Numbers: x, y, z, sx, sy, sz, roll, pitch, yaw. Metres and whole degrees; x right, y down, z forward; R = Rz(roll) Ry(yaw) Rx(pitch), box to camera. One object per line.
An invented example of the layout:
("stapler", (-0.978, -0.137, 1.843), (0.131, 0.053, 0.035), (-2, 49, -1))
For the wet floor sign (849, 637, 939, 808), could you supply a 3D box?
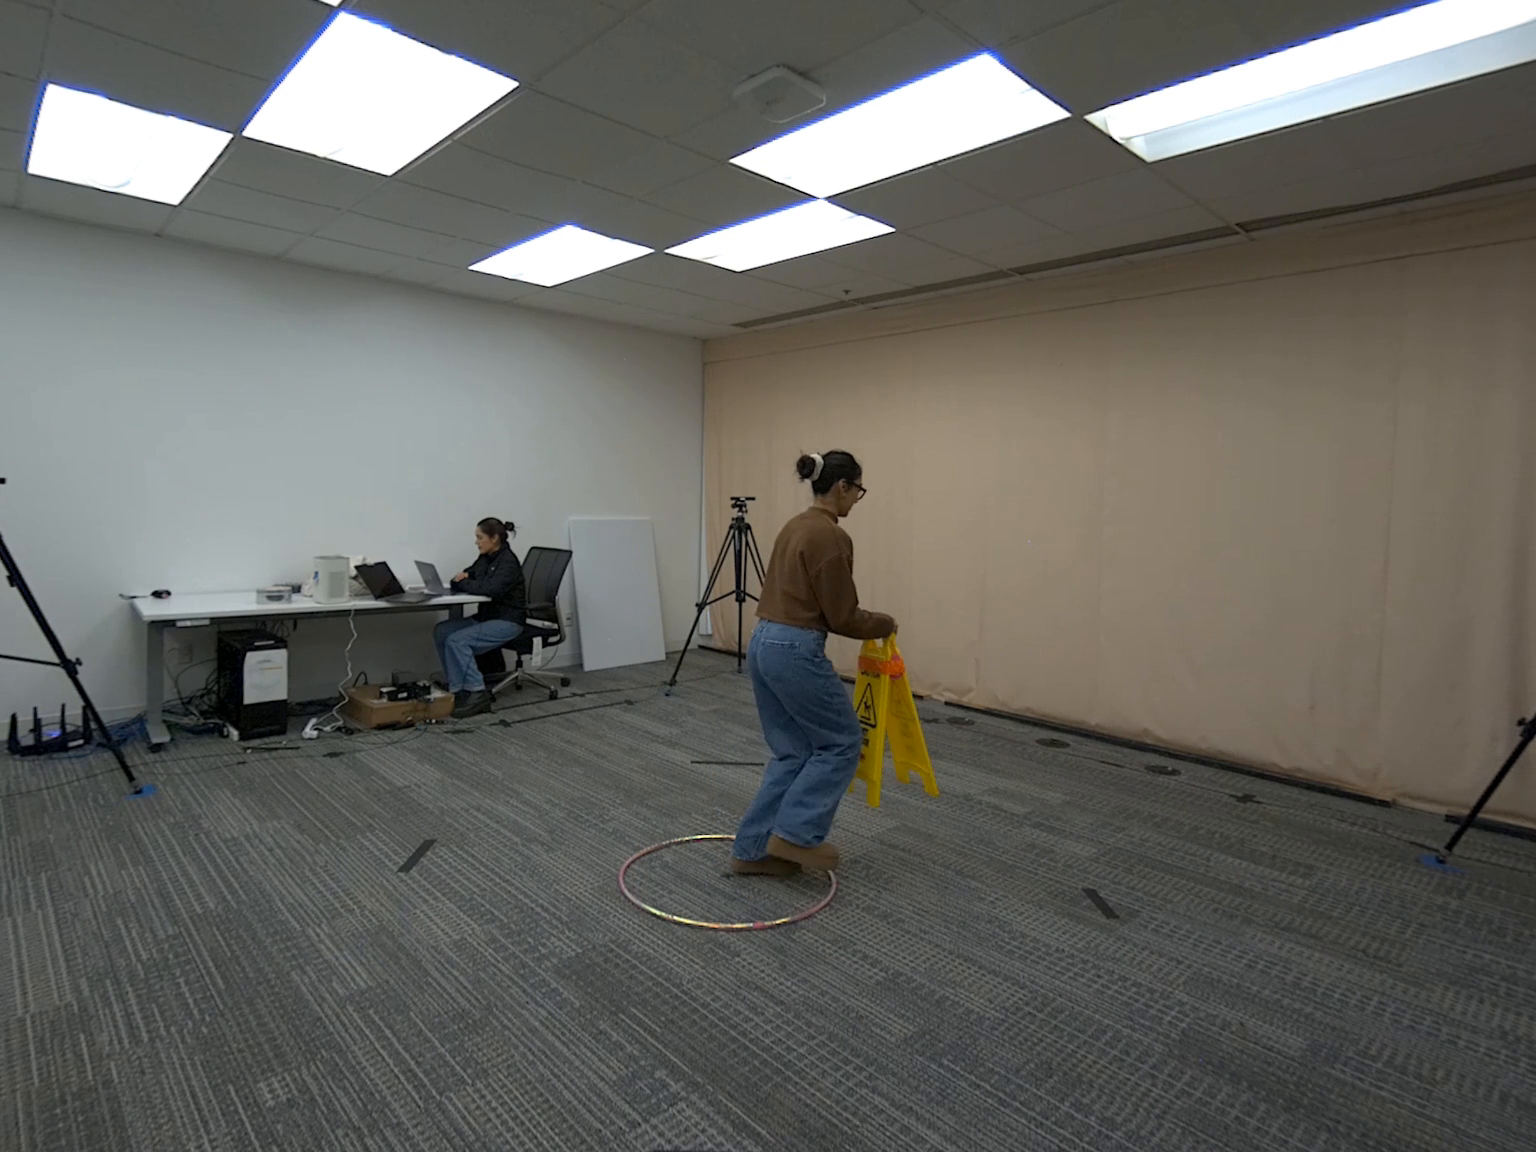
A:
("wet floor sign", (0.442, 0.511, 3.251), (0.285, 0.646, 0.286), (-3, 0, -21))
